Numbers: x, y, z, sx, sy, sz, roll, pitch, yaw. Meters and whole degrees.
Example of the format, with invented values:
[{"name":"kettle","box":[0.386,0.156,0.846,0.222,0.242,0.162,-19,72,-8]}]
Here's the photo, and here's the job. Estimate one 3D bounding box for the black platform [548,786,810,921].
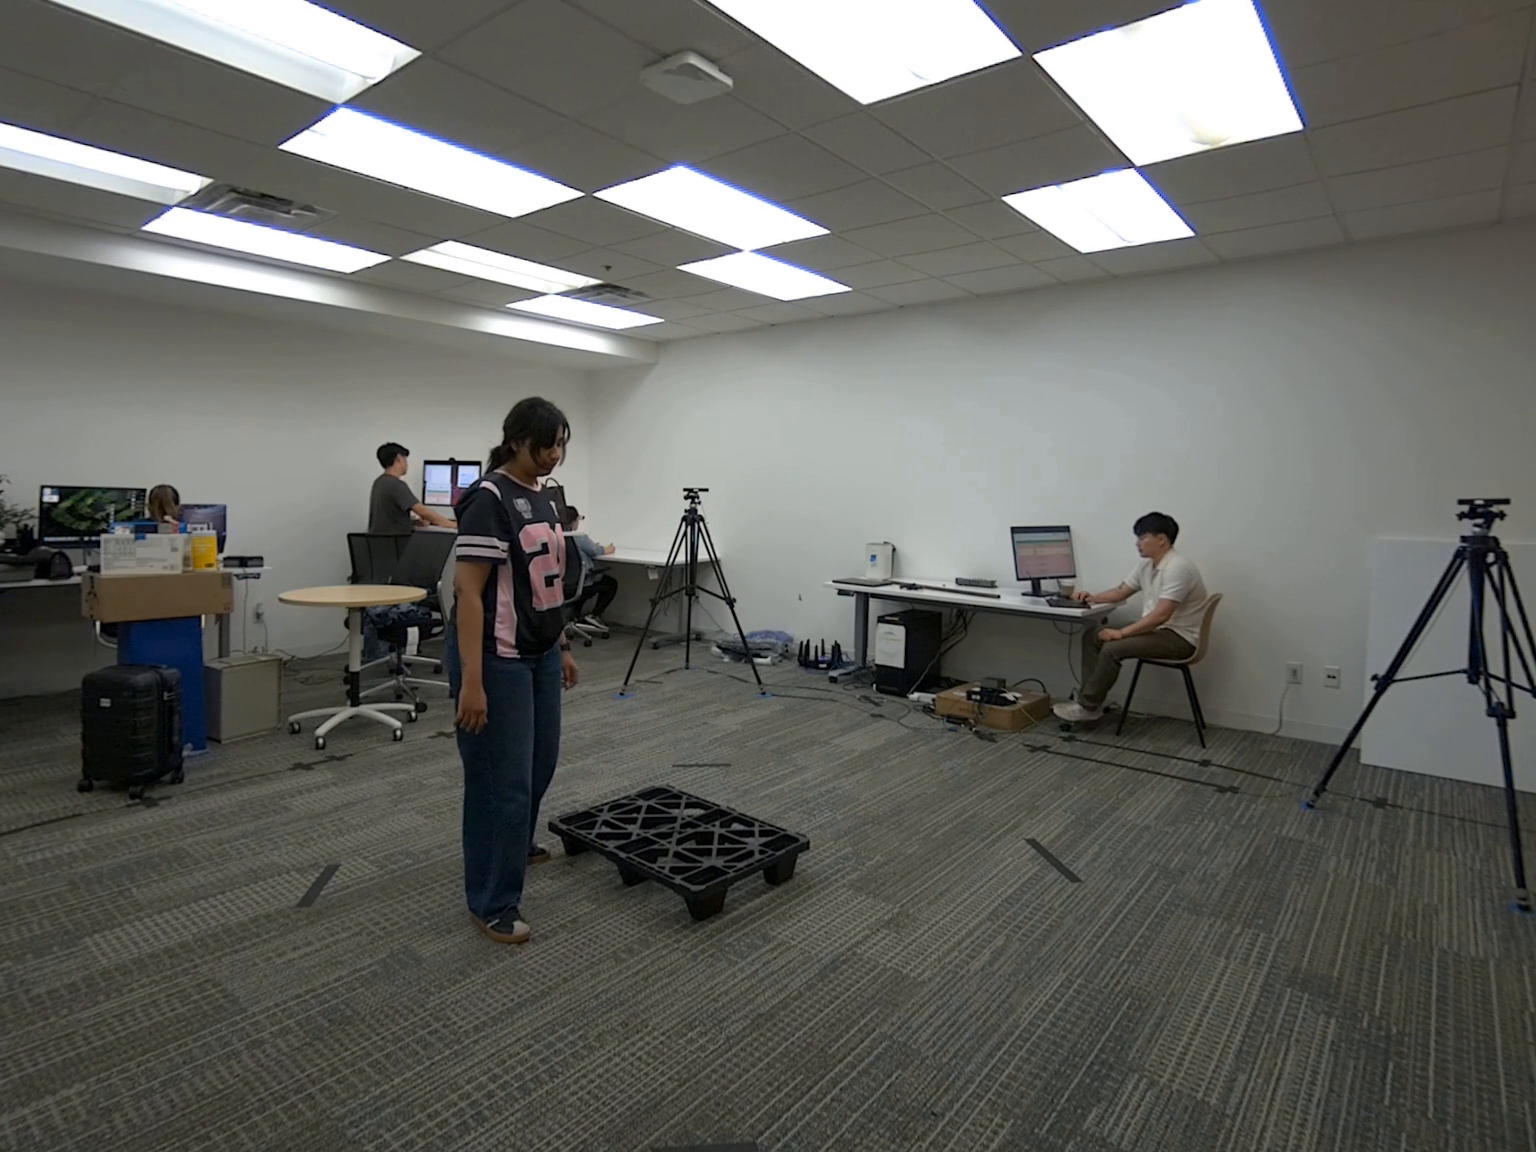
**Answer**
[{"name":"black platform","box":[-0.347,0.997,3.145,0.833,0.143,0.587,6,7,42]}]
